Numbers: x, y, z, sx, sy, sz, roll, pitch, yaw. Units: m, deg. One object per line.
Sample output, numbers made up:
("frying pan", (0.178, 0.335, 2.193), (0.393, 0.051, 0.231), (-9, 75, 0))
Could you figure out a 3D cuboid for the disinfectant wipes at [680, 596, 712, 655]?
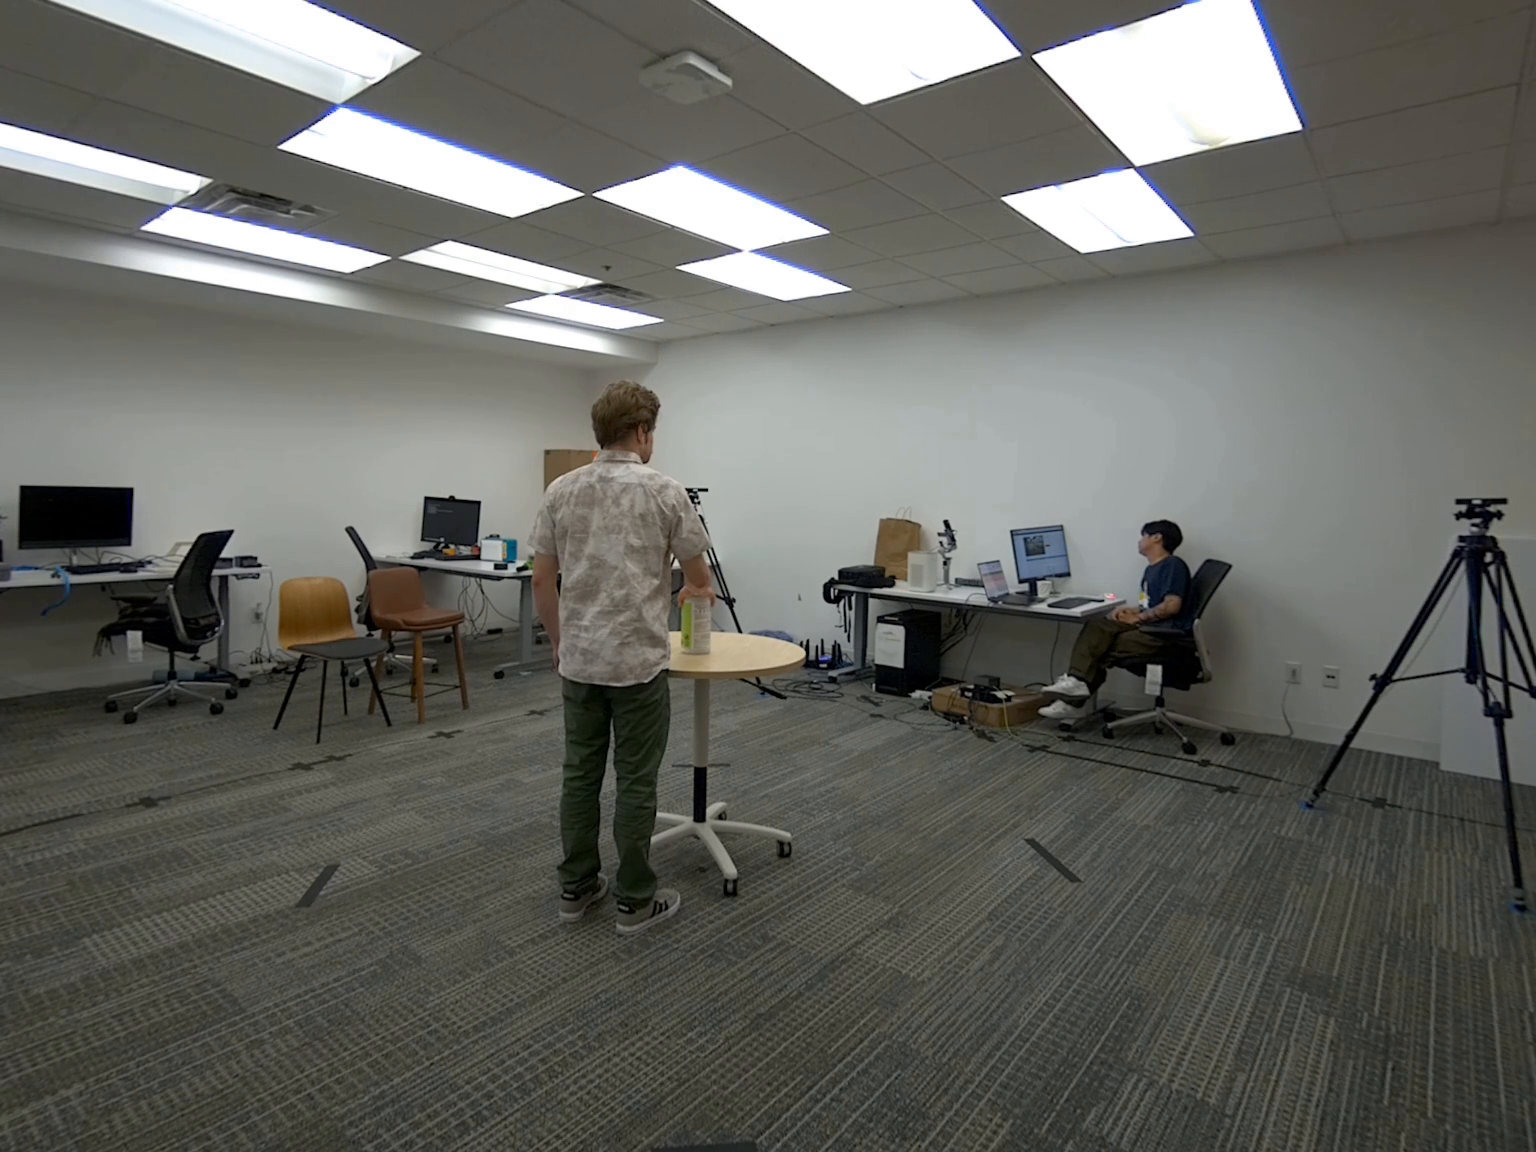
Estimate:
("disinfectant wipes", (-0.271, 0.171, 3.113), (0.118, 0.217, 0.118), (-1, 4, -2))
